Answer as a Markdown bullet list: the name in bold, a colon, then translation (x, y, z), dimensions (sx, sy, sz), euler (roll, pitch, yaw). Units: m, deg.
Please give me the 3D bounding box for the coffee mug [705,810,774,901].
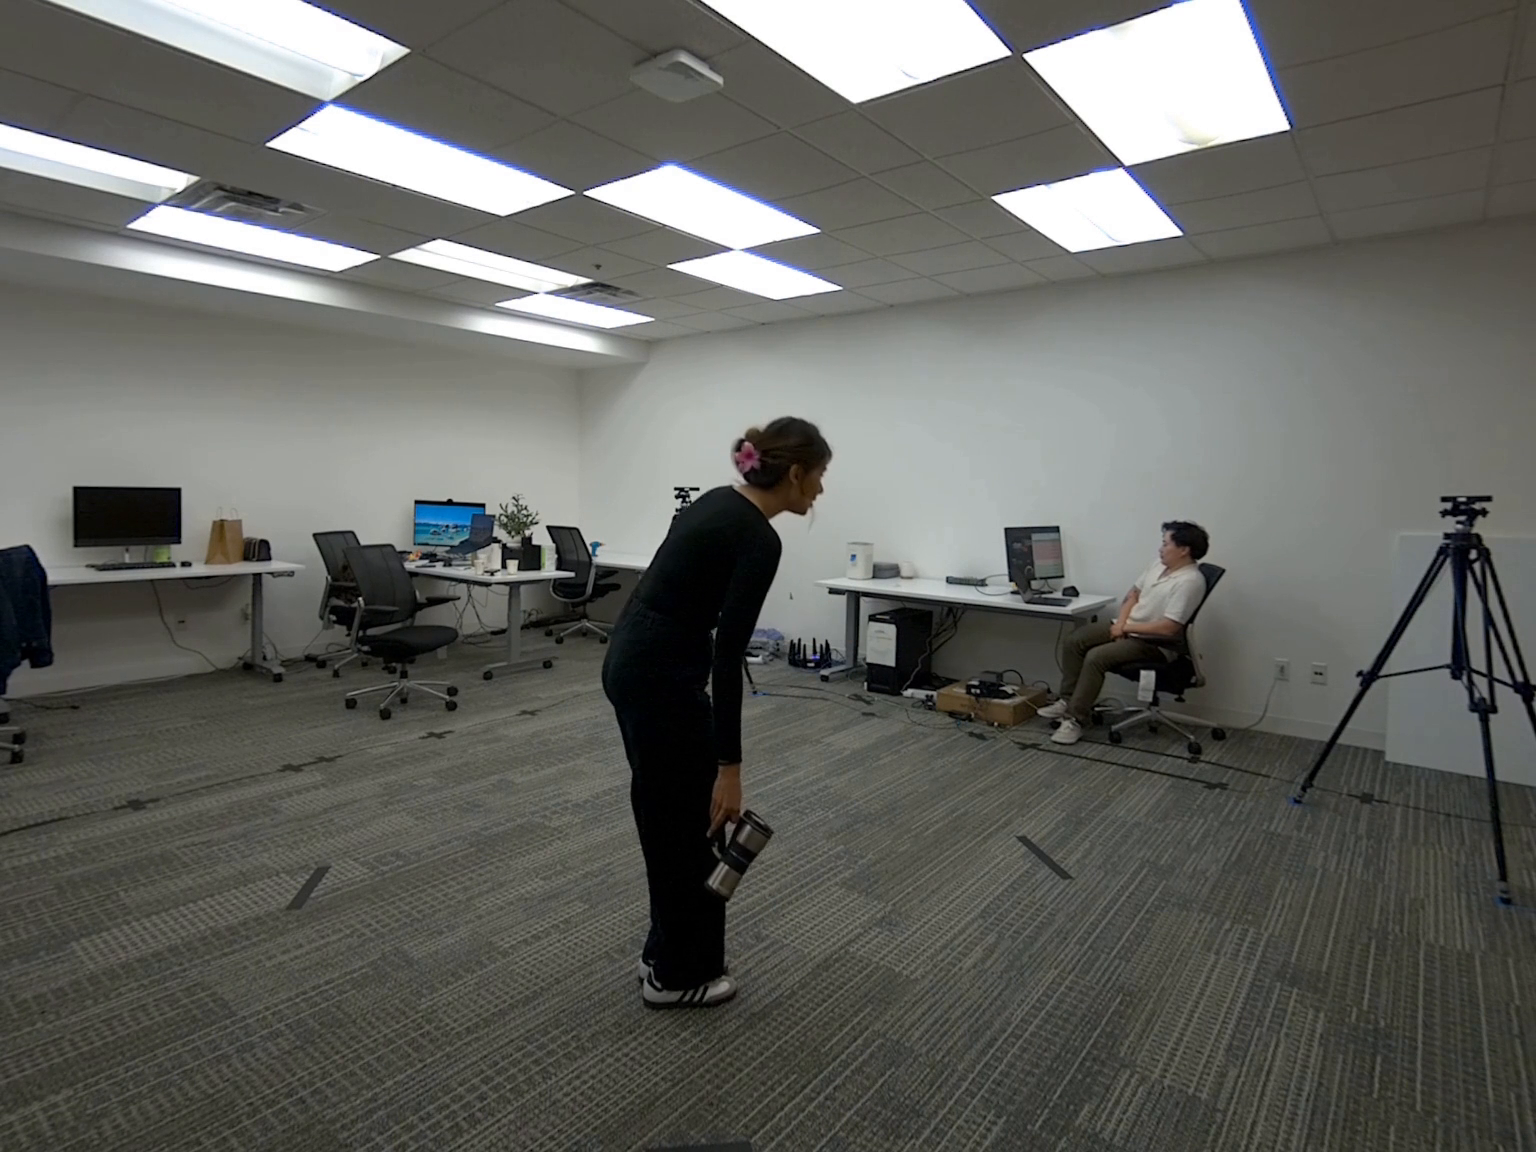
- **coffee mug**: translation (-0.091, 0.688, 2.070), dimensions (0.127, 0.203, 0.084), euler (35, 1, 37)
